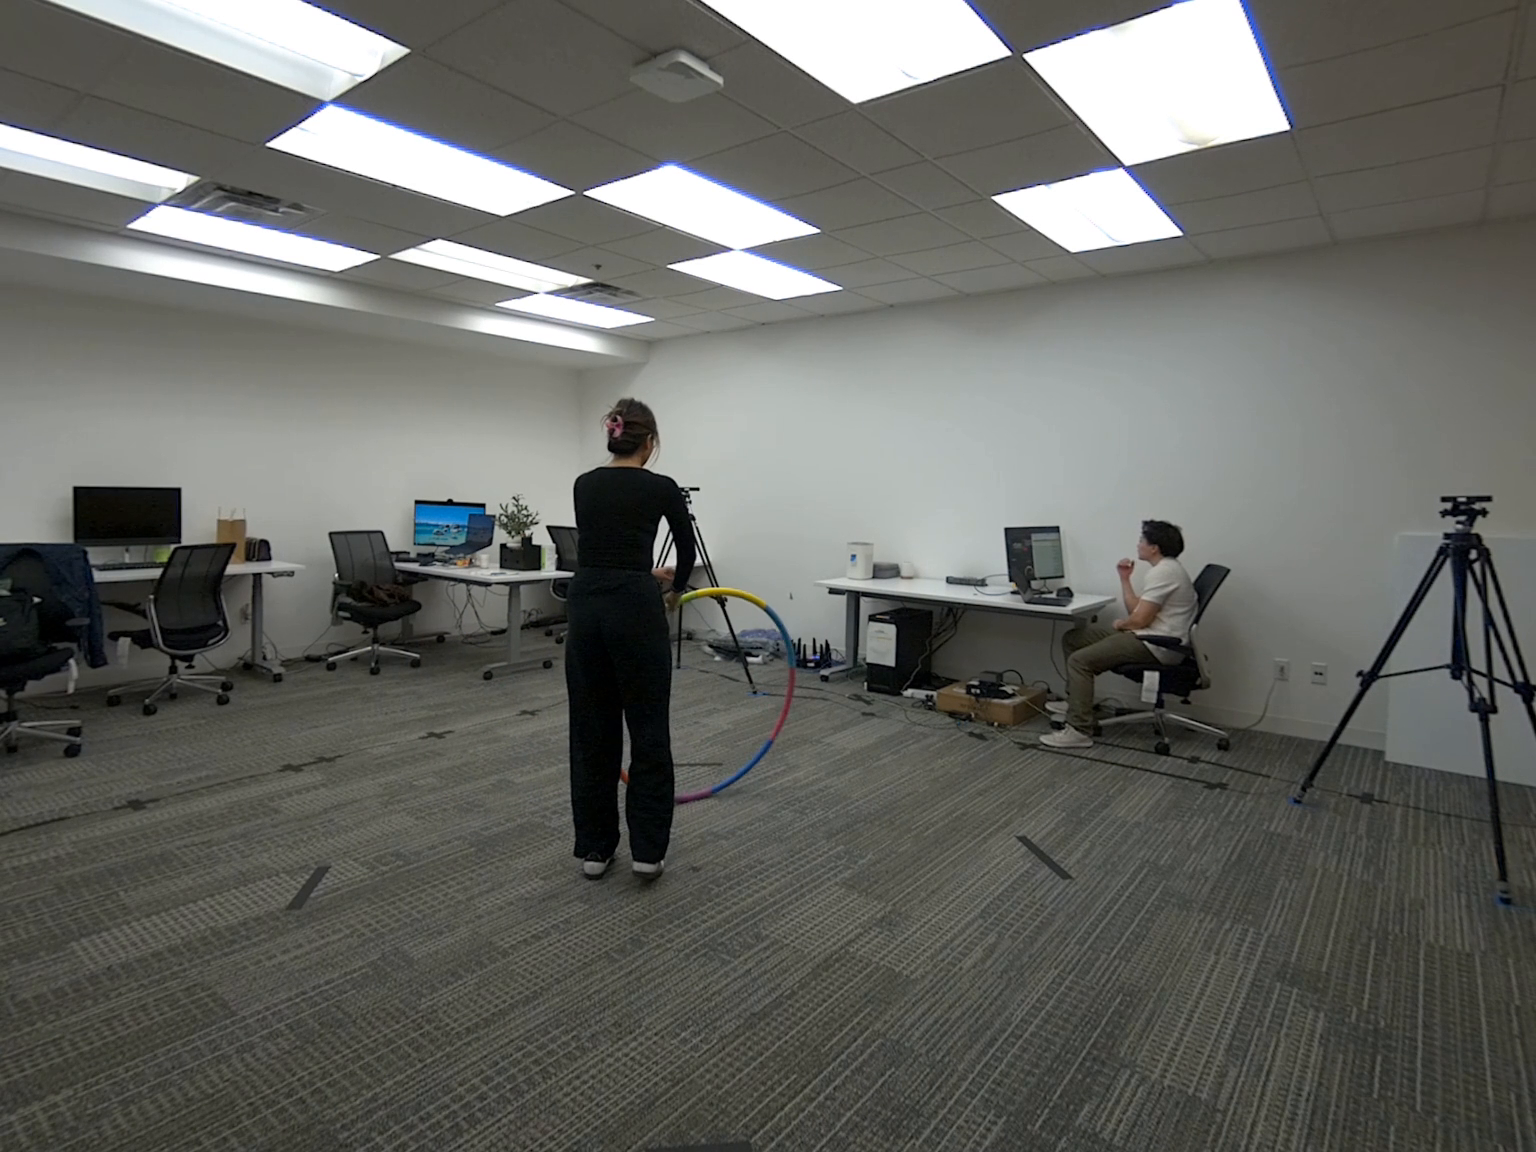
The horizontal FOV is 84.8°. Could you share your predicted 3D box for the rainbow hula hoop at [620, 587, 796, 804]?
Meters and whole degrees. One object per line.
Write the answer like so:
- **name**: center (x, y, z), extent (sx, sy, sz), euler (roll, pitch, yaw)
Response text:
- **rainbow hula hoop**: center (-0.292, 0.527, 3.724), extent (0.951, 0.970, 0.037), euler (-2, 13, -34)
